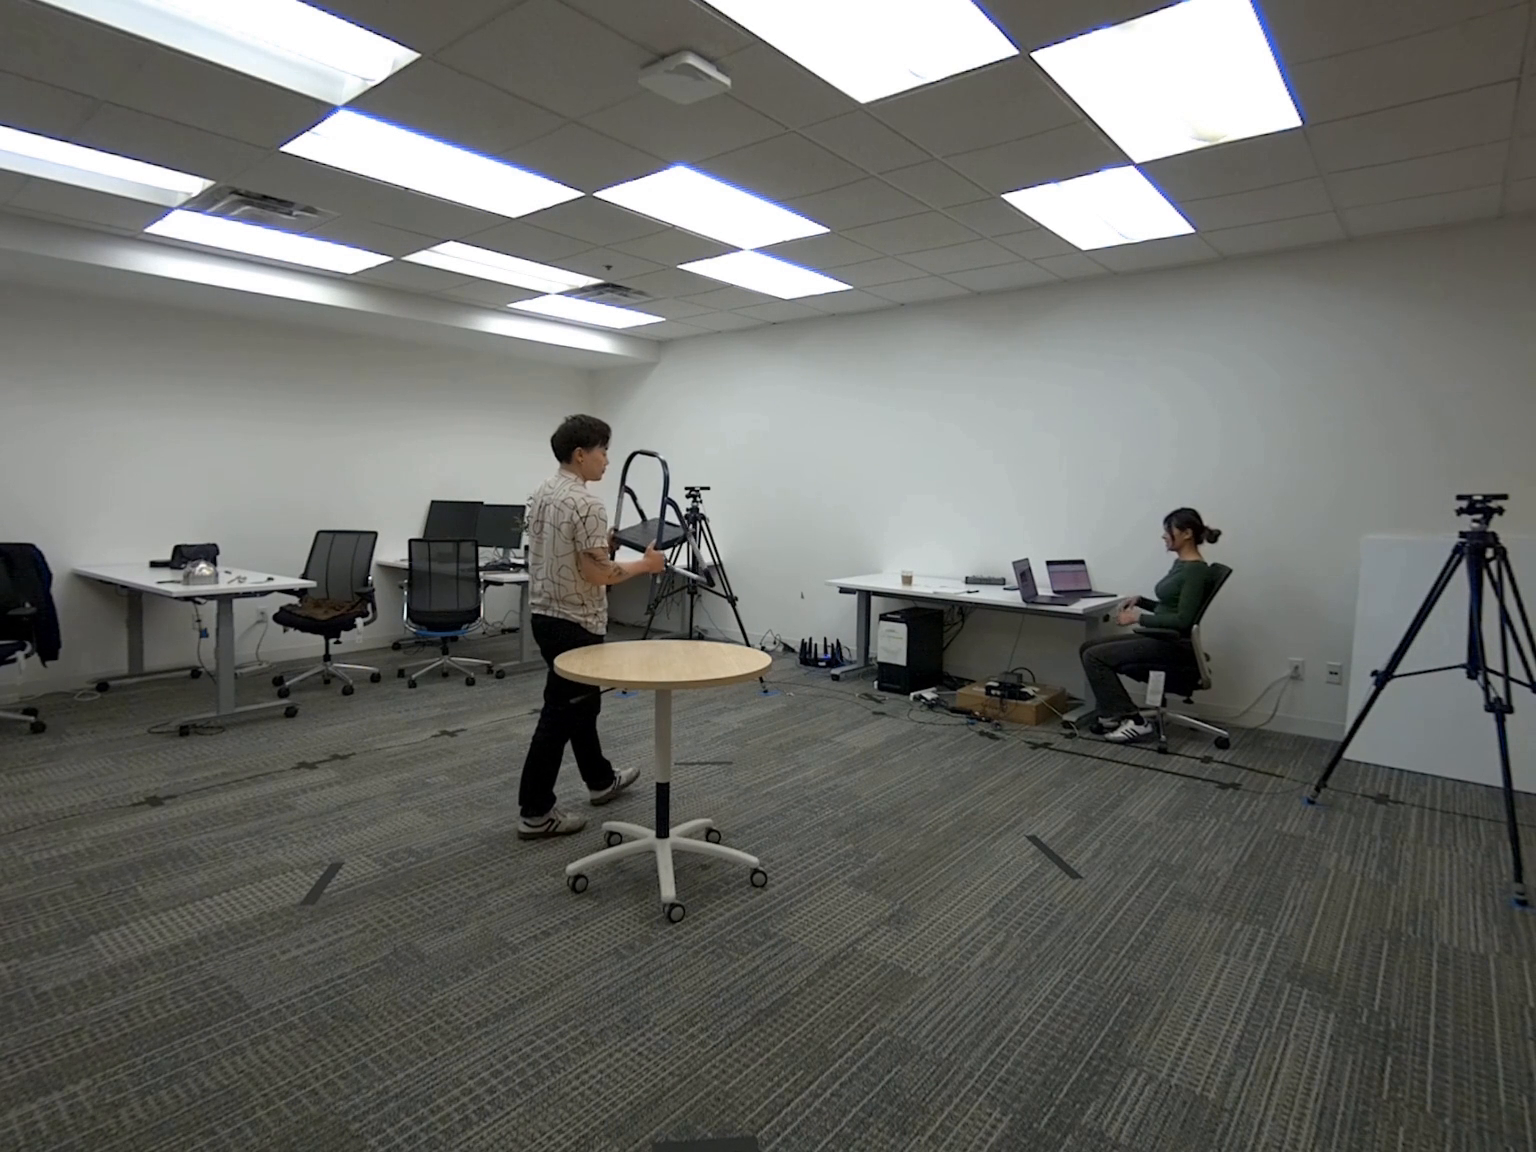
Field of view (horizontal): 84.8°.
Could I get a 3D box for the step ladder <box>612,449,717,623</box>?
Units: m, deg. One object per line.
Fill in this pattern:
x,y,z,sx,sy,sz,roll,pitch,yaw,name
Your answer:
-0.539,-0.226,3.633,0.343,0.594,0.447,-20,22,-30,step ladder
